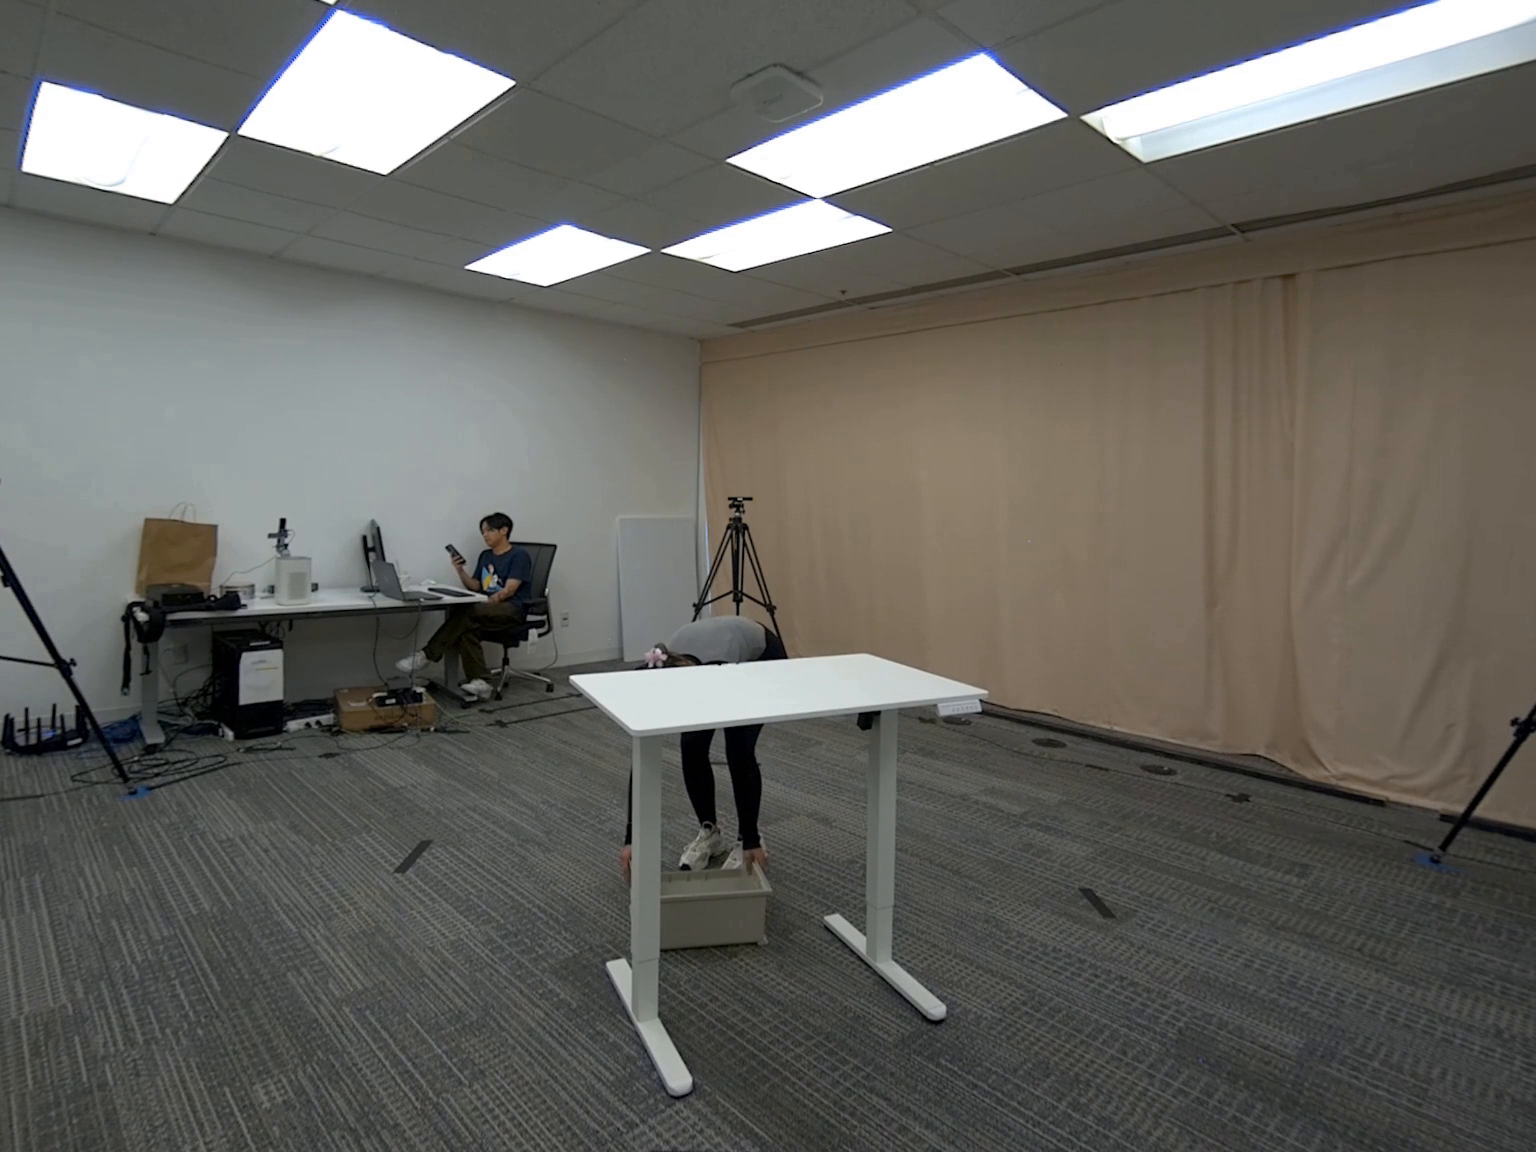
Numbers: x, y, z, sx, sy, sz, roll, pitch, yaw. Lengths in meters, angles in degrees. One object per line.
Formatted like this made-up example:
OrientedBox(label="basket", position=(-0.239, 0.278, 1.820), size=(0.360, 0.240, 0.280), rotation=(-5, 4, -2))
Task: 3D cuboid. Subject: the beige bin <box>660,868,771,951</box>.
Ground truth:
OrientedBox(label="beige bin", position=(-0.239, 1.044, 2.762), size=(0.418, 0.188, 0.382), rotation=(2, 5, -13))
